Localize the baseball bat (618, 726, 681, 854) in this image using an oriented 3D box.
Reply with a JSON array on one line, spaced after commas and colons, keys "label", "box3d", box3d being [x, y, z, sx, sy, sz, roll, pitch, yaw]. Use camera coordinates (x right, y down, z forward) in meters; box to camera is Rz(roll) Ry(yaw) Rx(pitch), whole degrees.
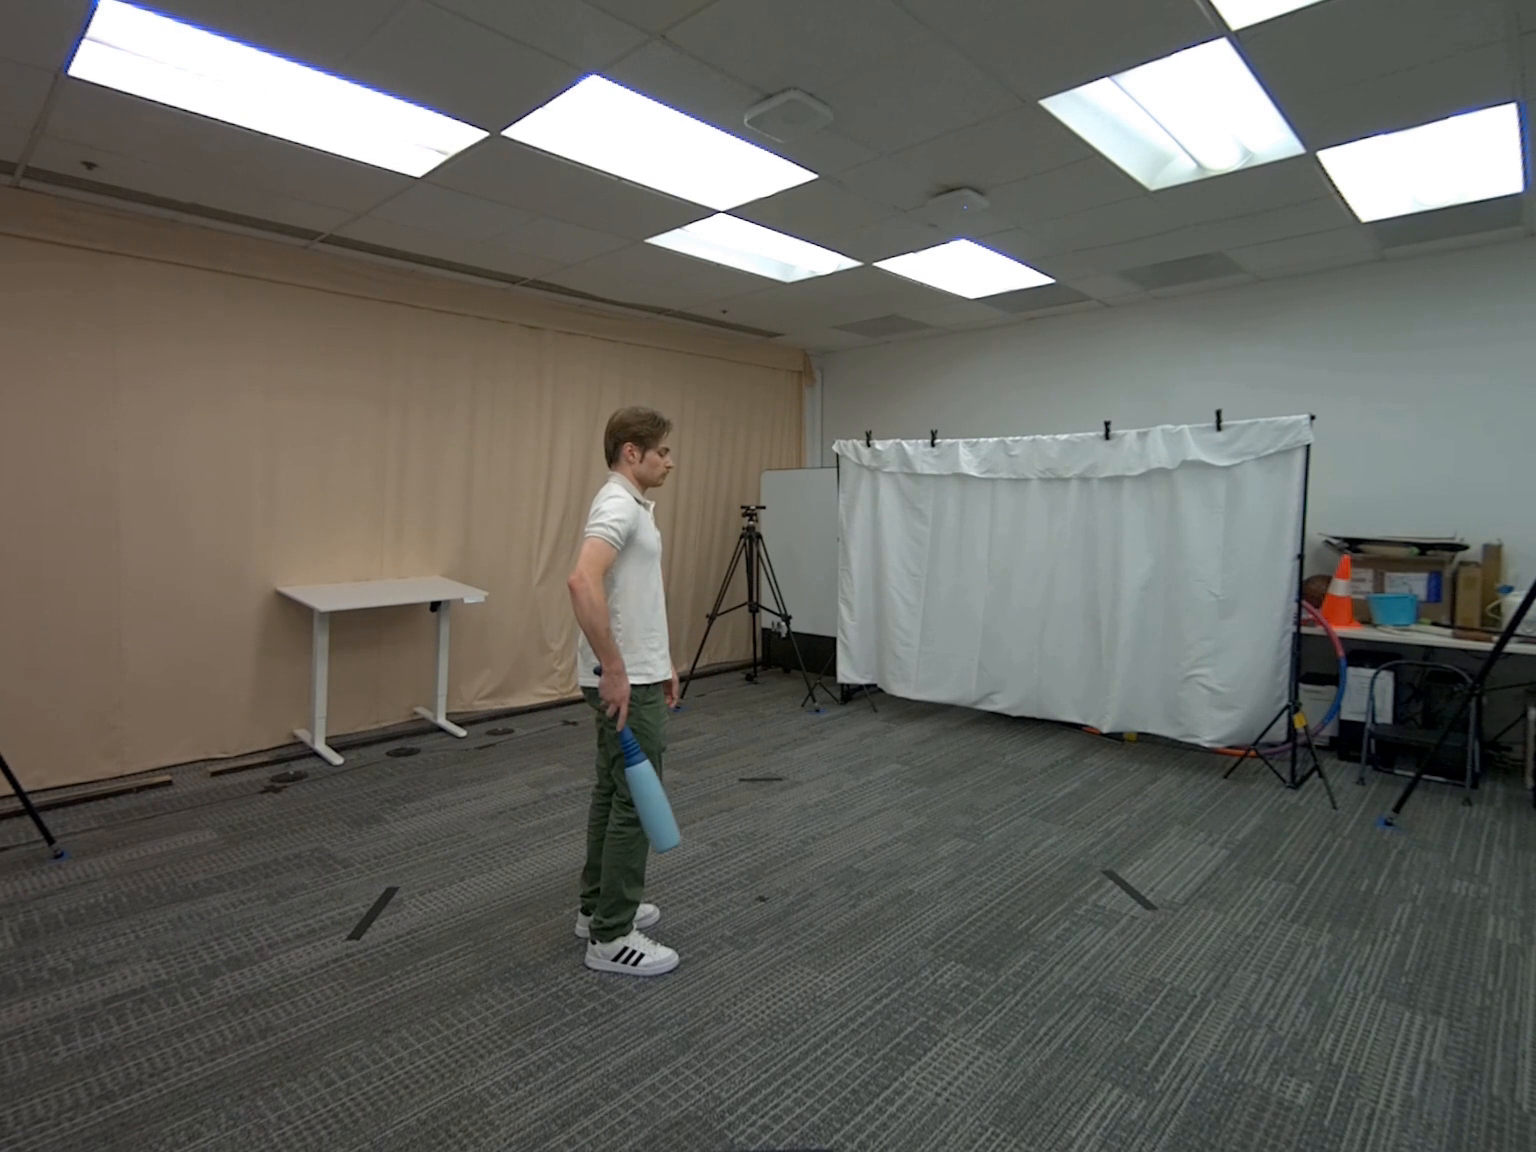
[{"label": "baseball bat", "box3d": [-0.372, 0.501, 2.371, 0.089, 0.547, 0.089, -22, -7, -4]}]
